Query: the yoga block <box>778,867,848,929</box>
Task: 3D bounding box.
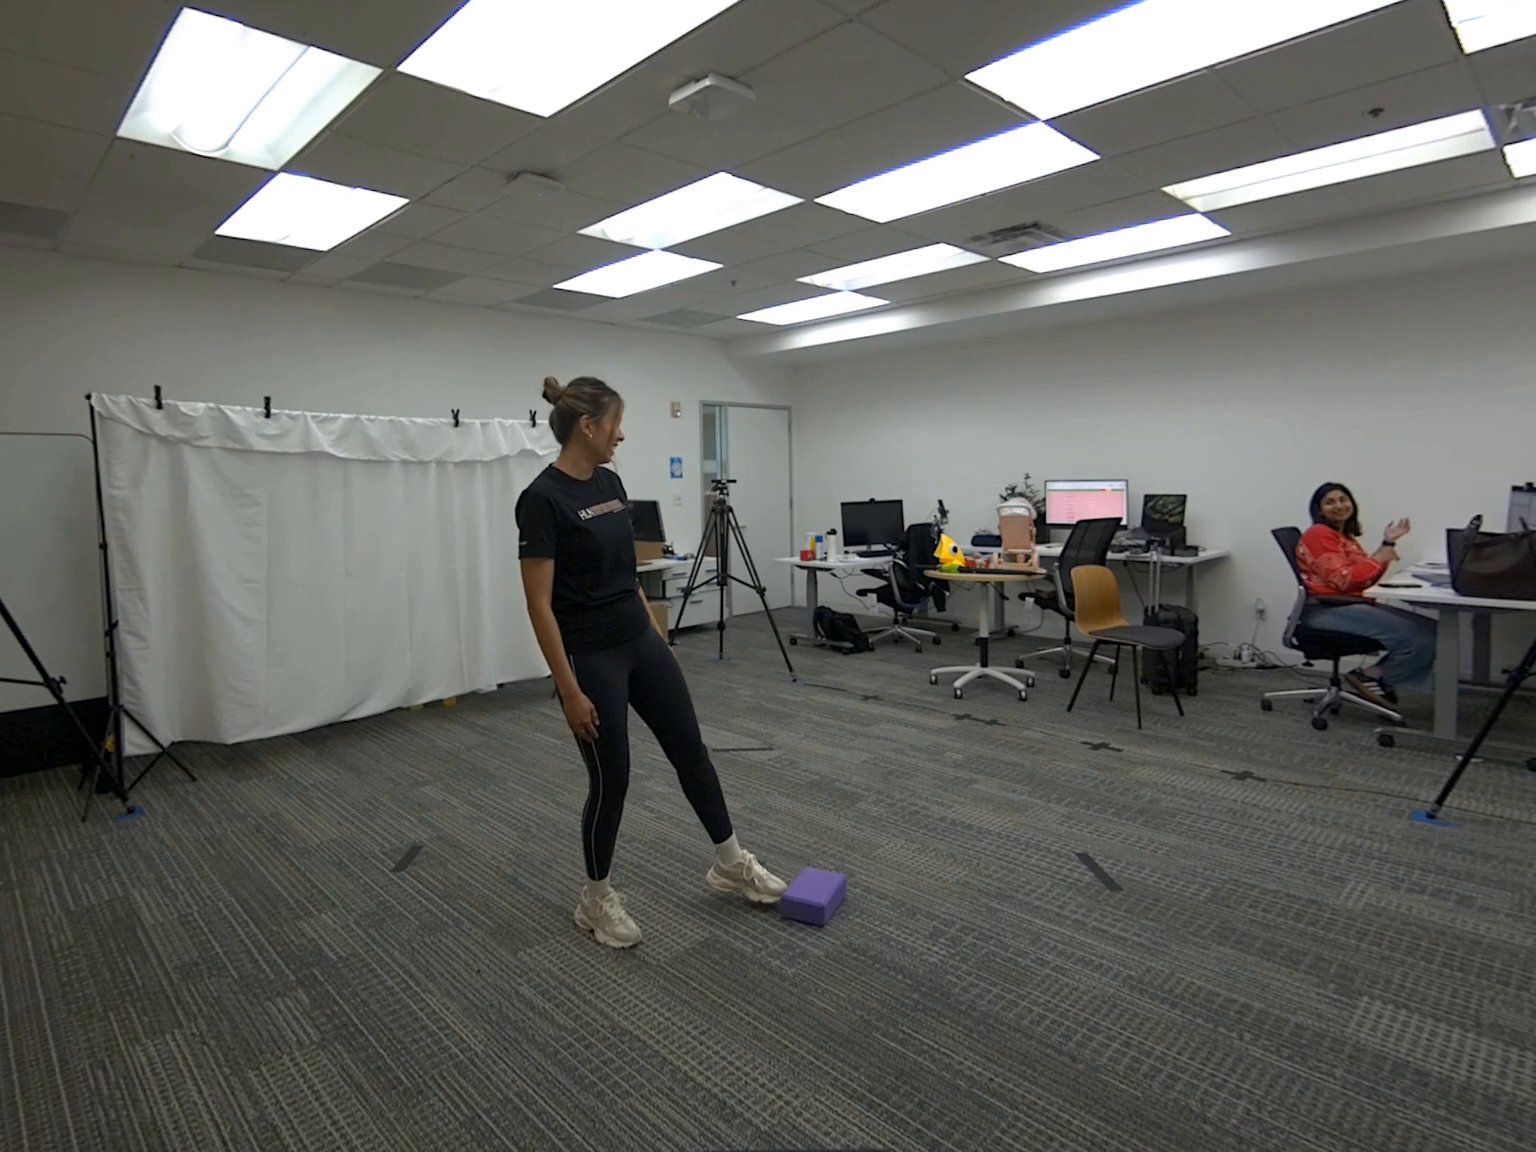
[{"bbox_3d":[0.152,1.039,2.778,0.152,0.076,0.225,2,6,24],"label":"yoga block"}]
